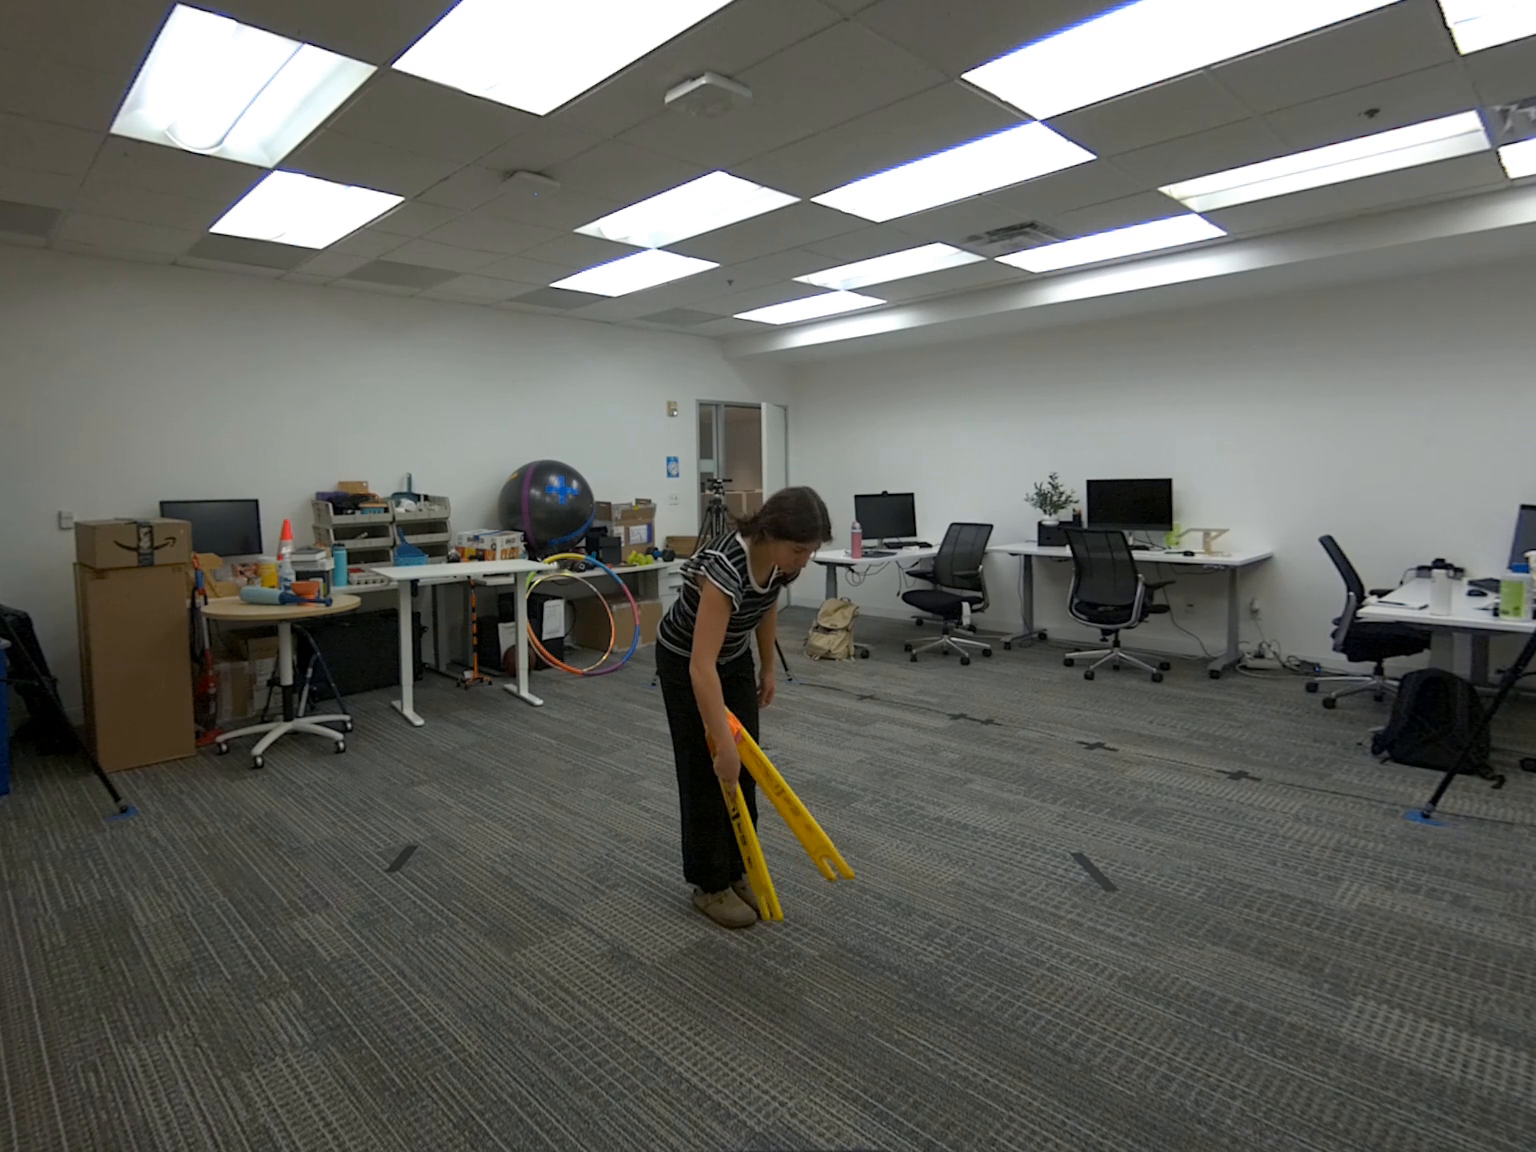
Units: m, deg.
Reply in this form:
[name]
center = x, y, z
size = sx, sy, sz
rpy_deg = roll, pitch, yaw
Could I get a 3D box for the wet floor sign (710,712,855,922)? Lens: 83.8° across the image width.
[wet floor sign]
center = -0.043, 0.634, 2.464
size = 0.287, 0.661, 0.278
rpy_deg = -24, -19, -17
